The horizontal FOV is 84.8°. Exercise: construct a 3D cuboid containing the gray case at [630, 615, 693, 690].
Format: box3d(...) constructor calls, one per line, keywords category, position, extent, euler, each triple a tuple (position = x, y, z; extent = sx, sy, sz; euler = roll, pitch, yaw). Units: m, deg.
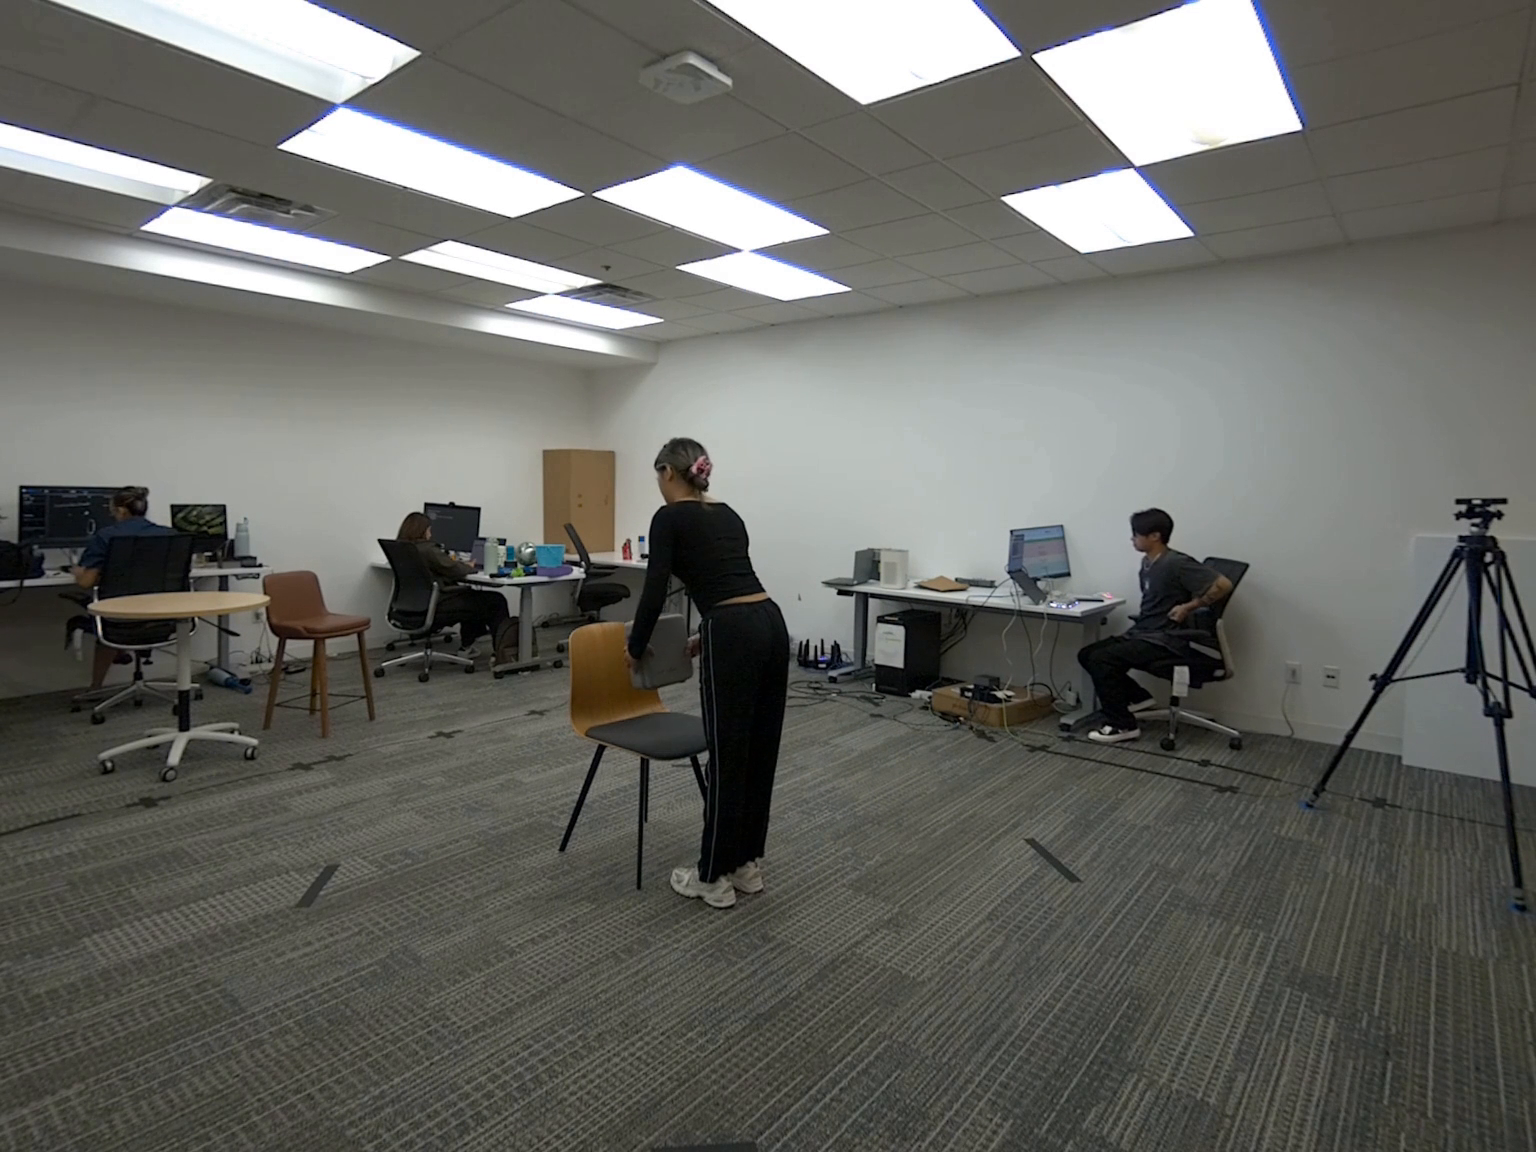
box3d(category="gray case", position=(-0.416, 0.271, 3.131), extent=(0.107, 0.262, 0.249), euler=(-14, -6, 38))
